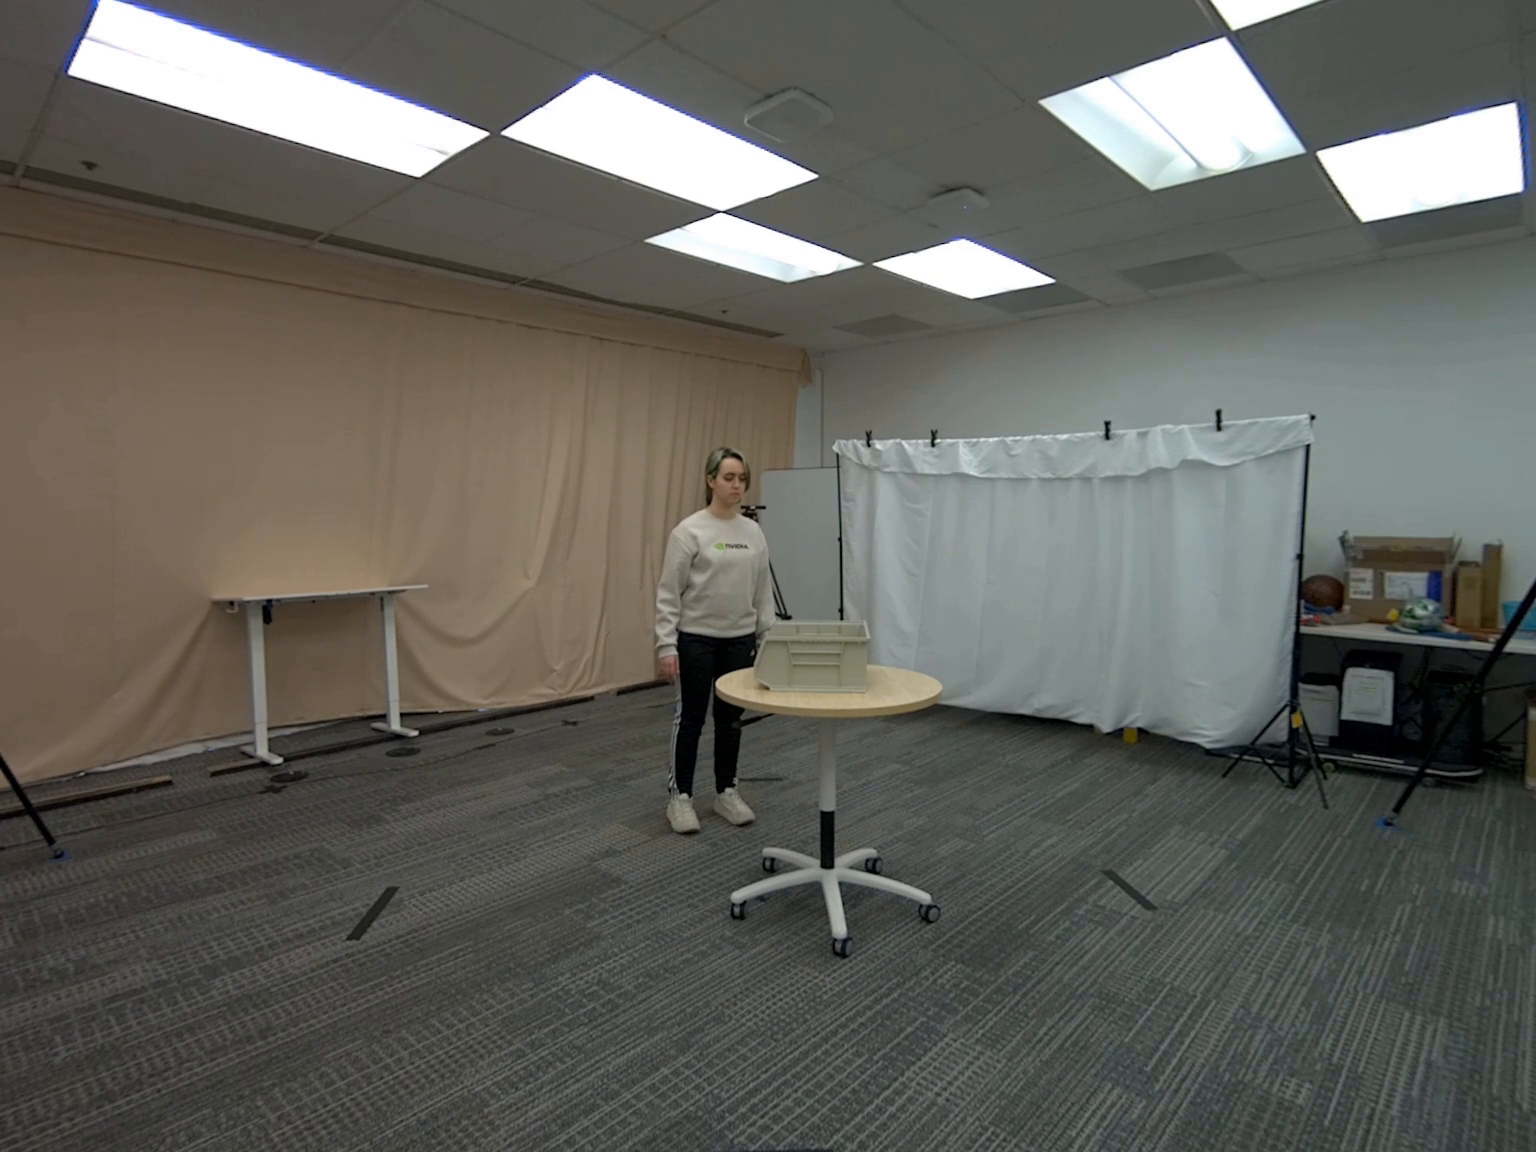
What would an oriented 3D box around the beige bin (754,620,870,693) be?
[{"bbox_3d":[0.160,0.269,2.941,0.380,0.188,0.420,2,4,5],"label":"beige bin"}]
